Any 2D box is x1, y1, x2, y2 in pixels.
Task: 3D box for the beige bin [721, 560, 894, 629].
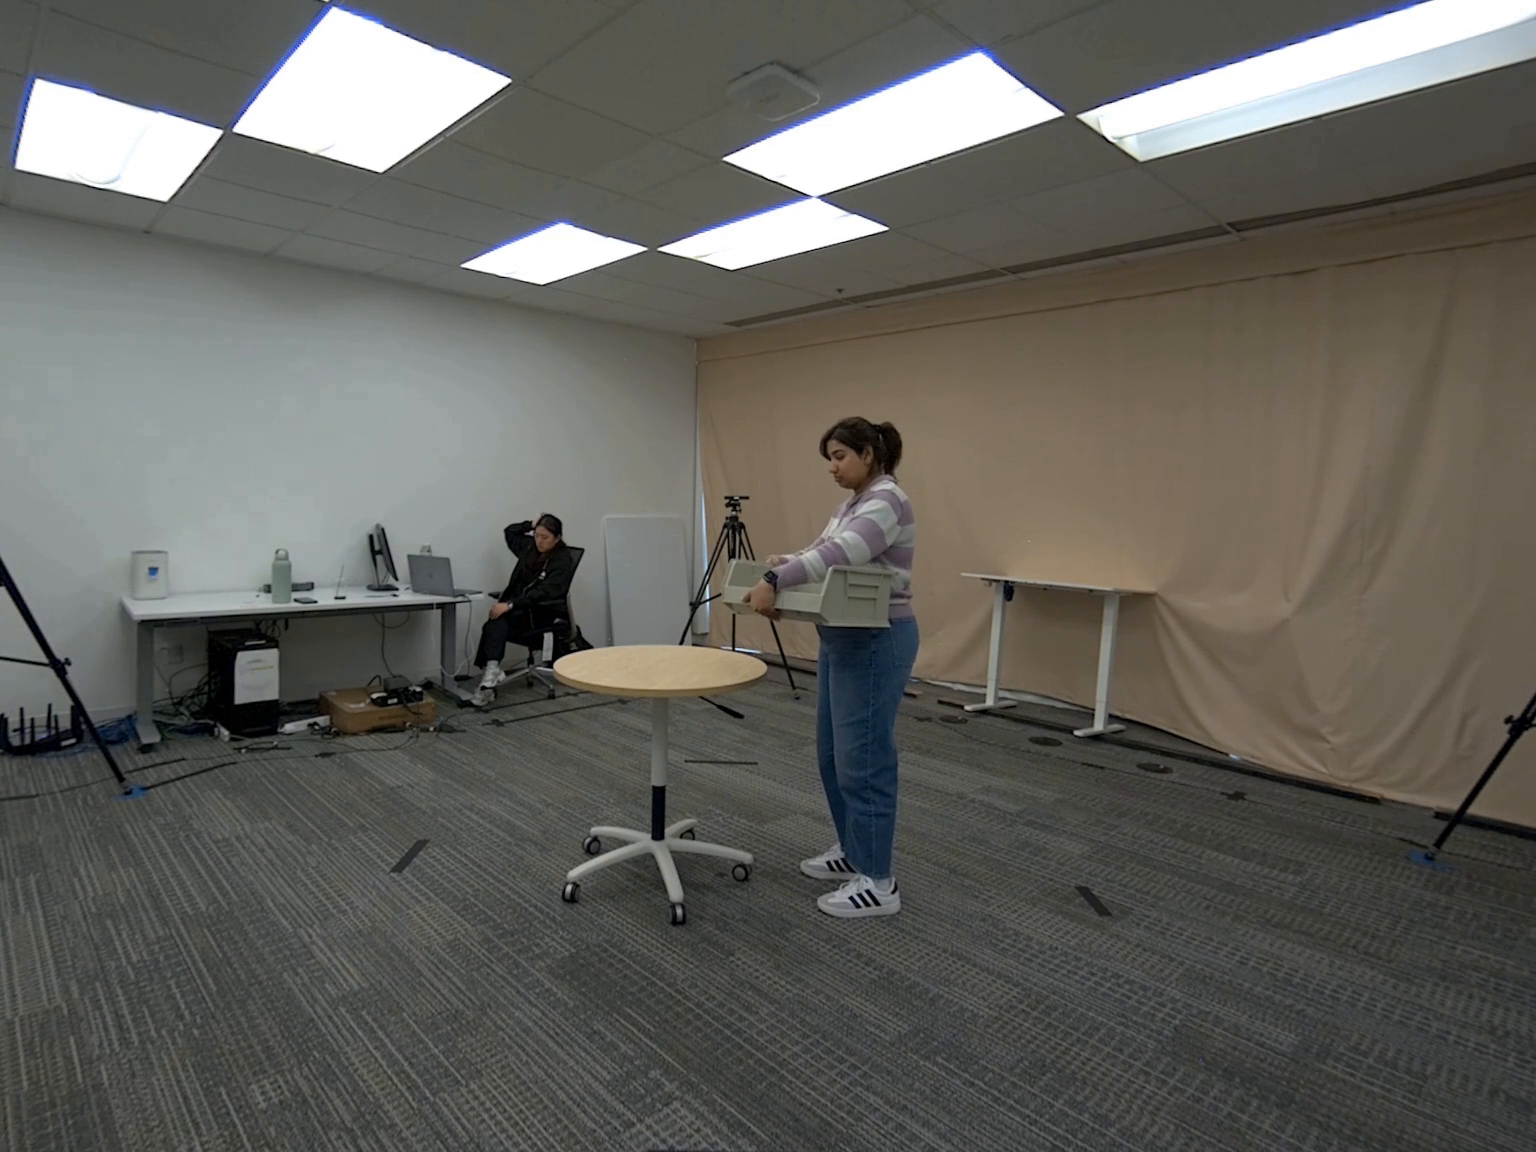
[{"bbox_3d":[0.124,0.053,2.700,0.432,0.189,0.367,2,-3,44],"label":"beige bin"}]
